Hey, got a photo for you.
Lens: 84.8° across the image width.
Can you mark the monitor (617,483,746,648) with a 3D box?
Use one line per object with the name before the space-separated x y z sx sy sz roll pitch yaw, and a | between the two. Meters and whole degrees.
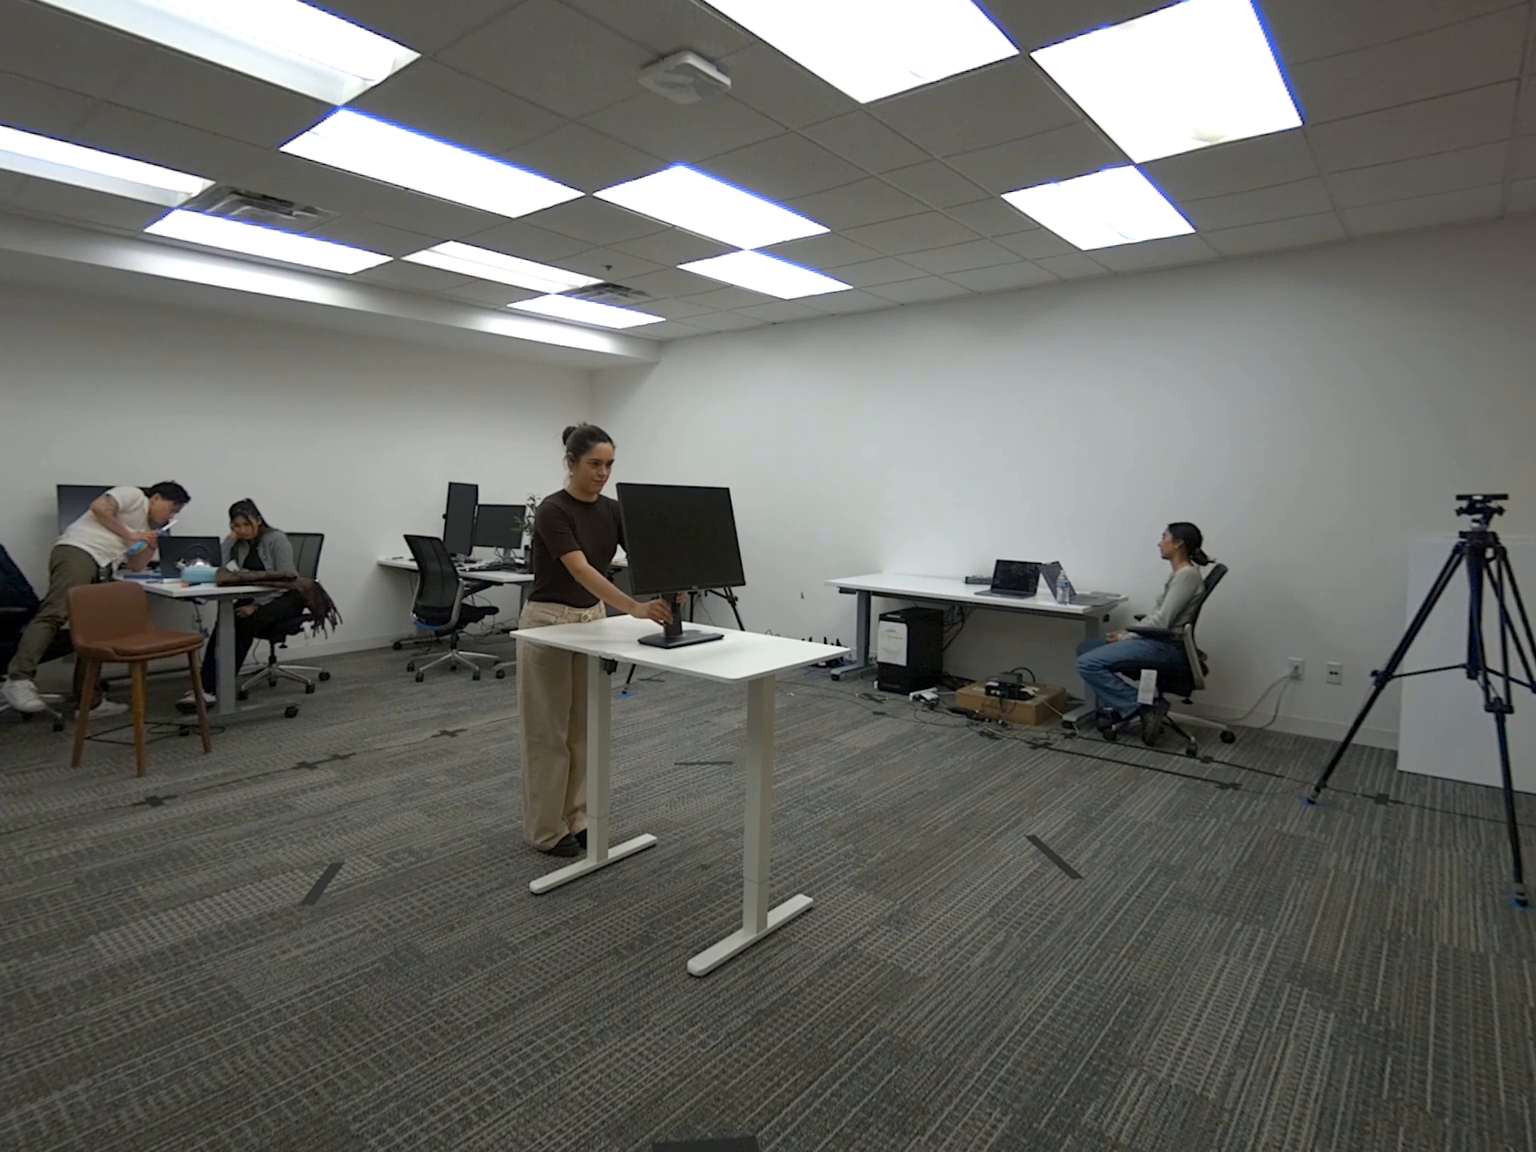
monitor | -0.302 -0.044 2.811 0.181 0.514 0.514 8 6 37
